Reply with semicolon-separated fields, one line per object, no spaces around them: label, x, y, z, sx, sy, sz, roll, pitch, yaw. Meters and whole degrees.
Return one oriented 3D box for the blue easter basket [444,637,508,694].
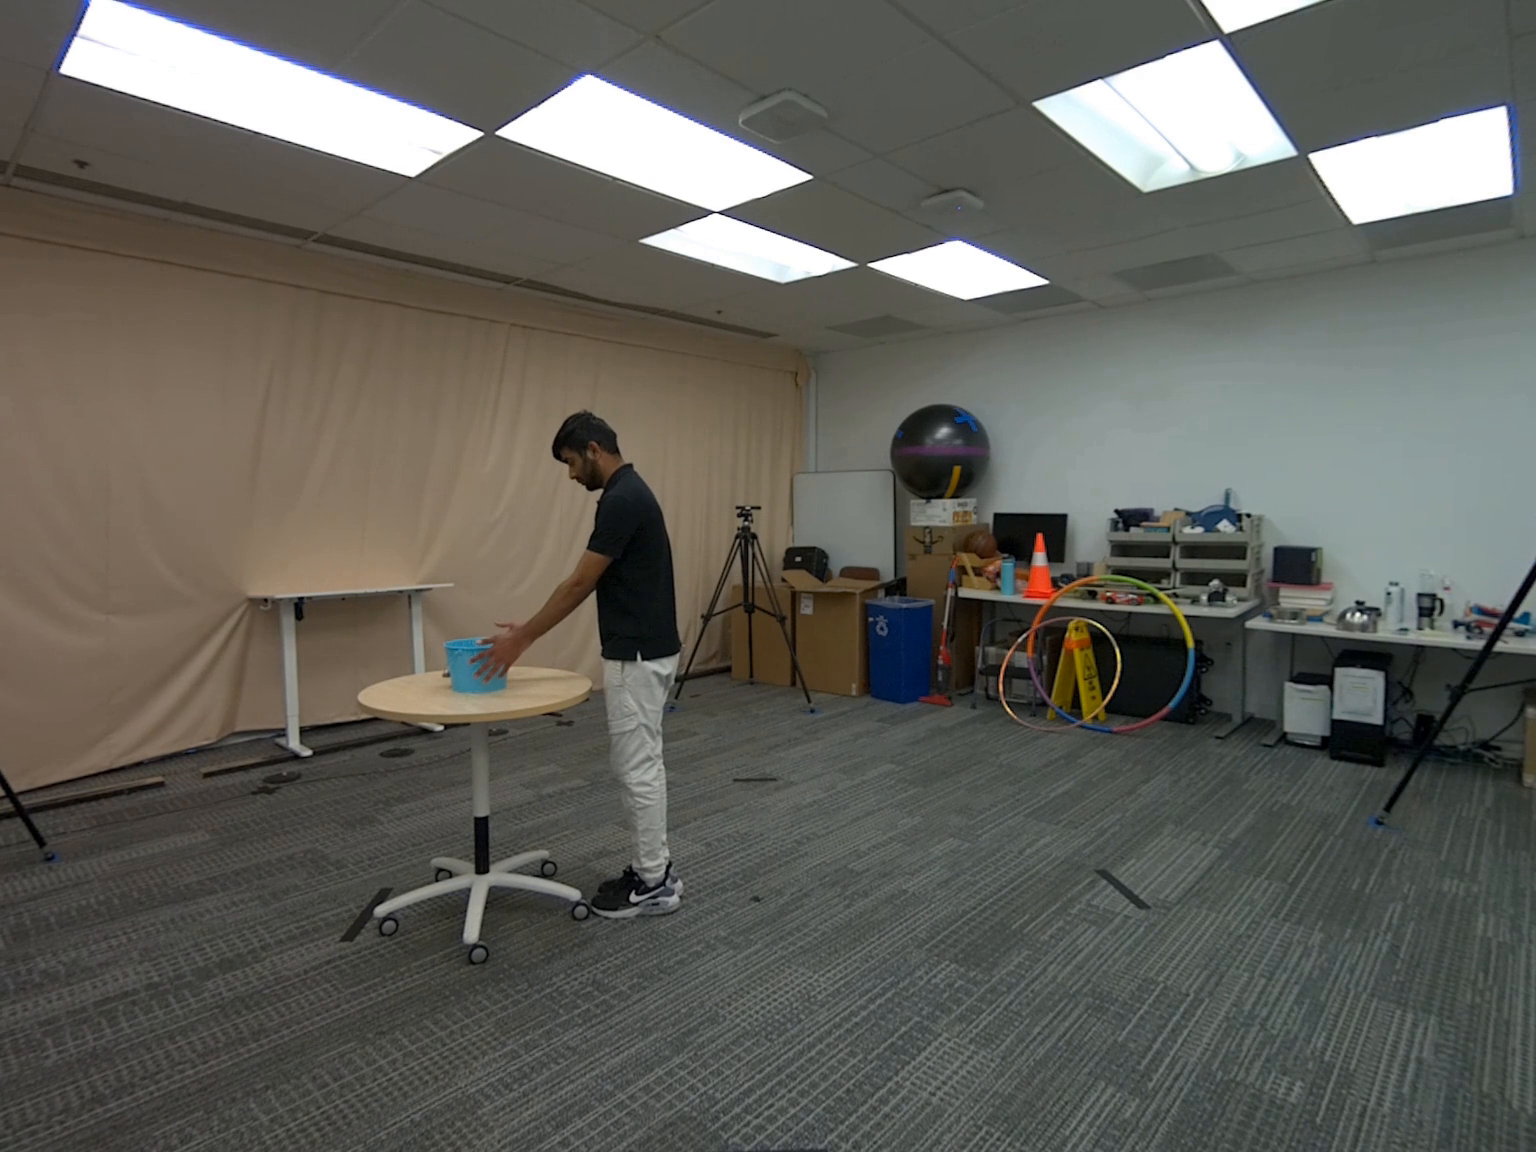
blue easter basket;-0.991;0.306;2.878;0.243;0.155;0.244;1;5;-2
